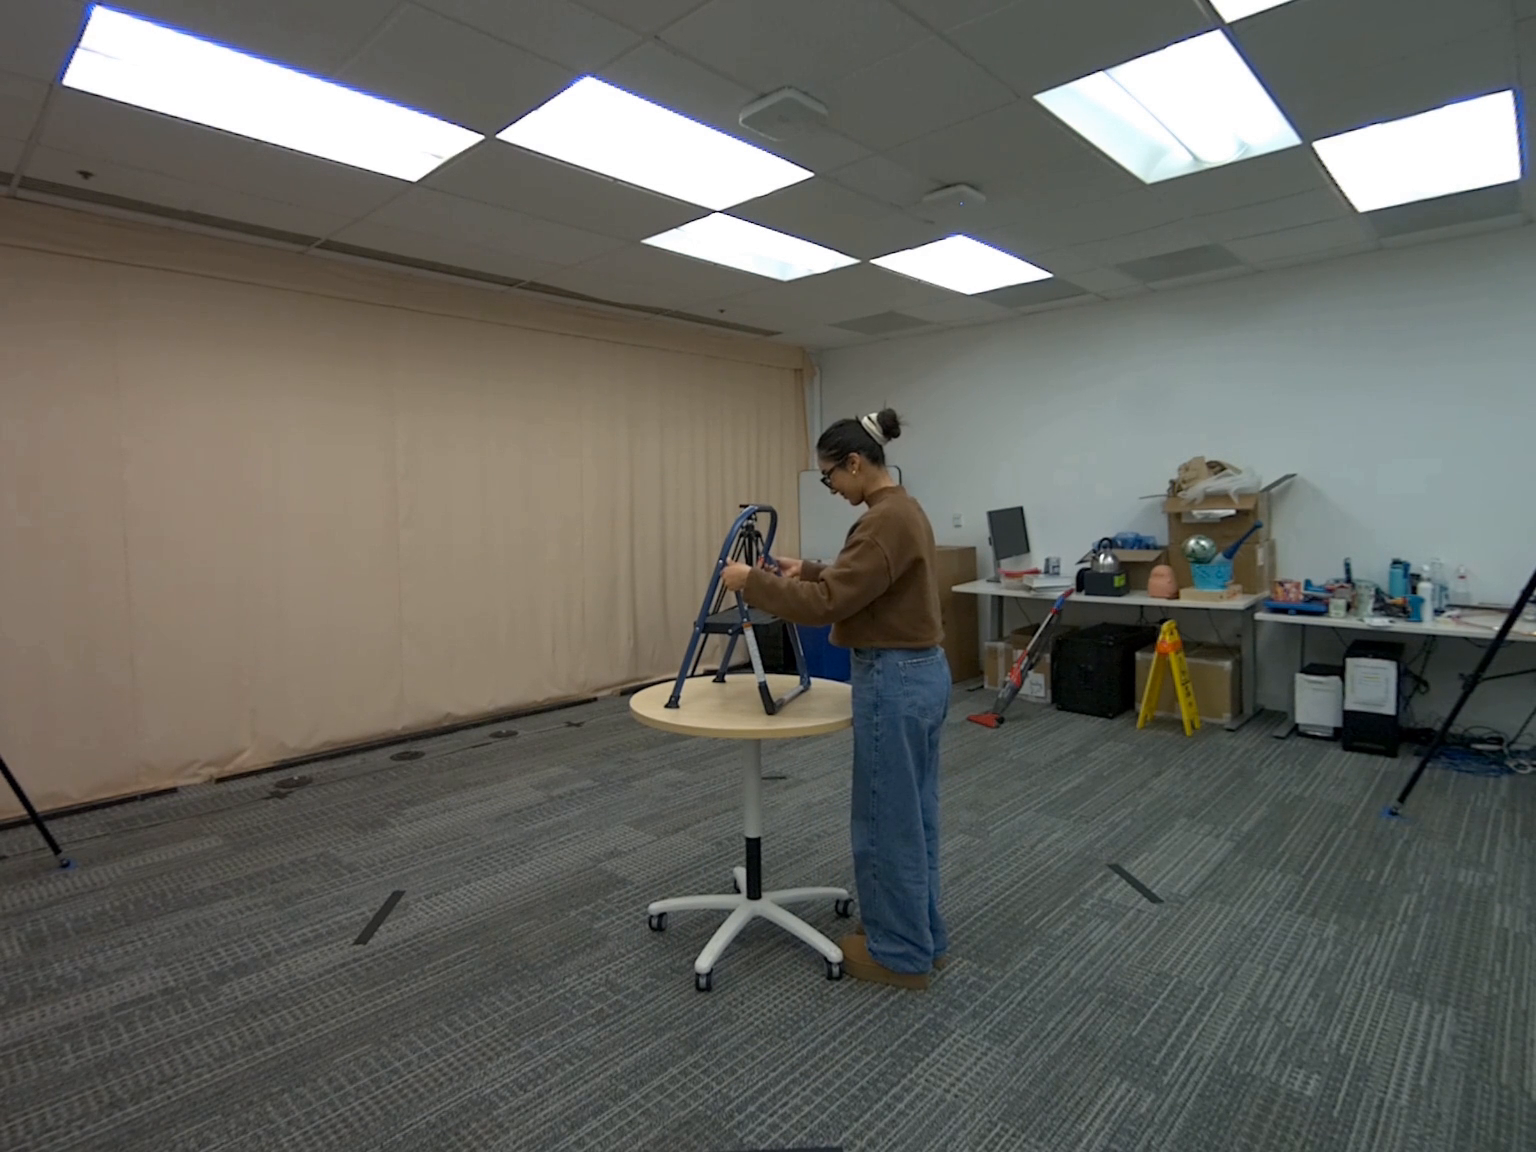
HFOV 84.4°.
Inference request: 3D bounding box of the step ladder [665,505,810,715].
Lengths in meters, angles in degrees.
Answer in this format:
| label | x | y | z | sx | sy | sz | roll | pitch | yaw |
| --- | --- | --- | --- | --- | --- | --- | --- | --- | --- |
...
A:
| label | x | y | z | sx | sy | sz | roll | pitch | yaw |
| --- | --- | --- | --- | --- | --- | --- | --- | --- | --- |
| step ladder | -0.084 | 0.087 | 2.659 | 0.357 | 0.605 | 0.422 | 0 | 3 | 20 |
